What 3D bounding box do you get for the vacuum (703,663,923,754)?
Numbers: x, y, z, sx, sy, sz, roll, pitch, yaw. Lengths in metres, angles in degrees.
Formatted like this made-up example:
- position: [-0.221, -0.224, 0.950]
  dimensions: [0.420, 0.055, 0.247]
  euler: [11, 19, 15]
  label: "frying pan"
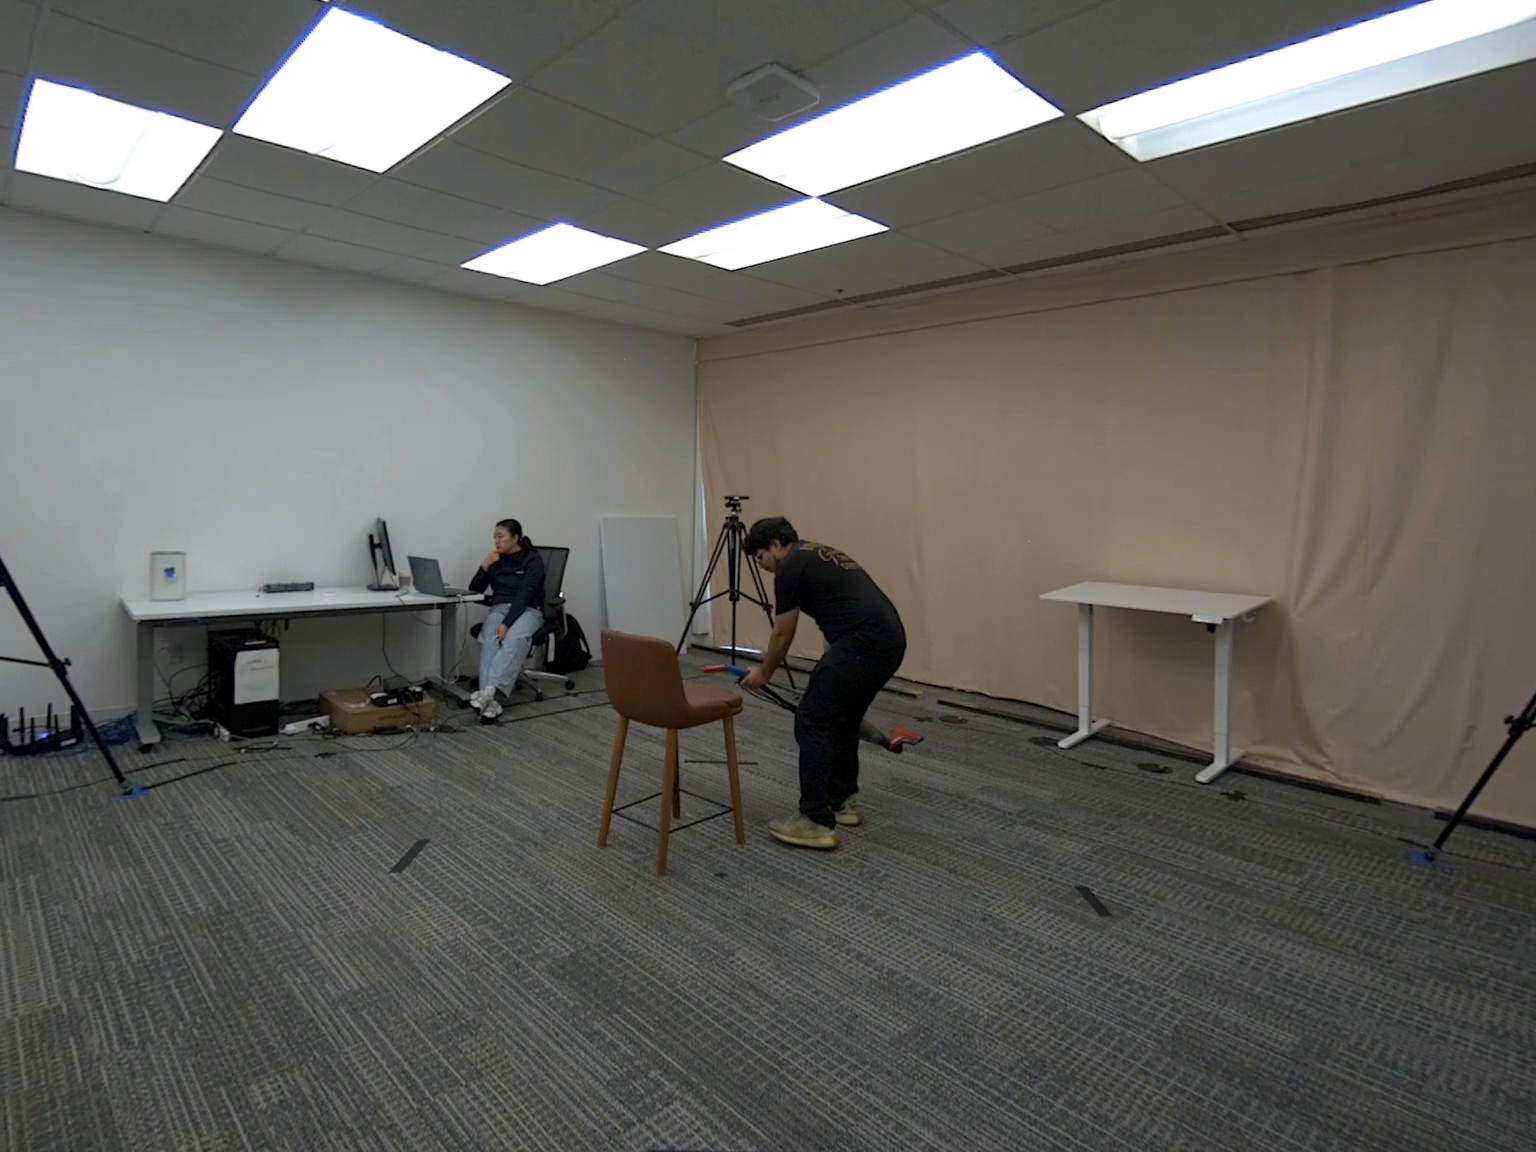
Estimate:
- position: [0.176, 0.610, 3.922]
  dimensions: [1.033, 0.144, 0.256]
  euler: [22, -6, -16]
  label: "vacuum"
